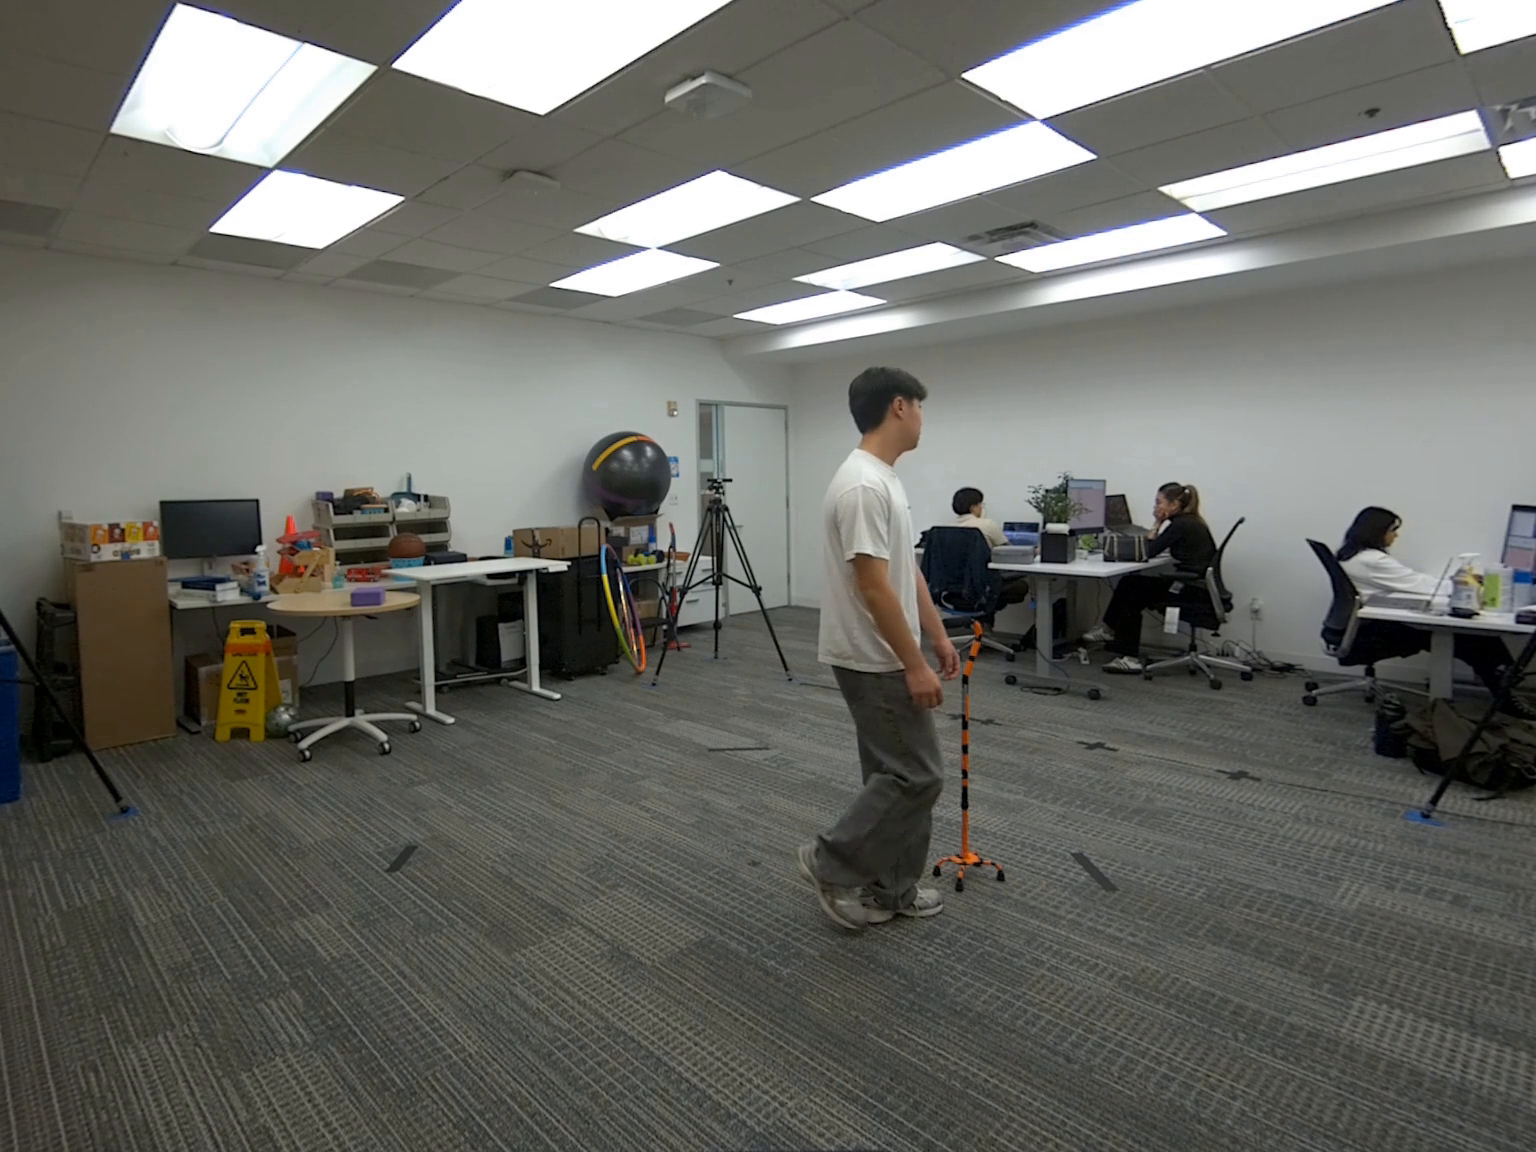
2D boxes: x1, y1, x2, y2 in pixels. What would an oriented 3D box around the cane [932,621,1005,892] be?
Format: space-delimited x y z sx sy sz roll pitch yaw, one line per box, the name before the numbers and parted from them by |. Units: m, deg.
cane | 0.695 0.597 2.948 0.202 0.905 0.155 -3 3 -26
